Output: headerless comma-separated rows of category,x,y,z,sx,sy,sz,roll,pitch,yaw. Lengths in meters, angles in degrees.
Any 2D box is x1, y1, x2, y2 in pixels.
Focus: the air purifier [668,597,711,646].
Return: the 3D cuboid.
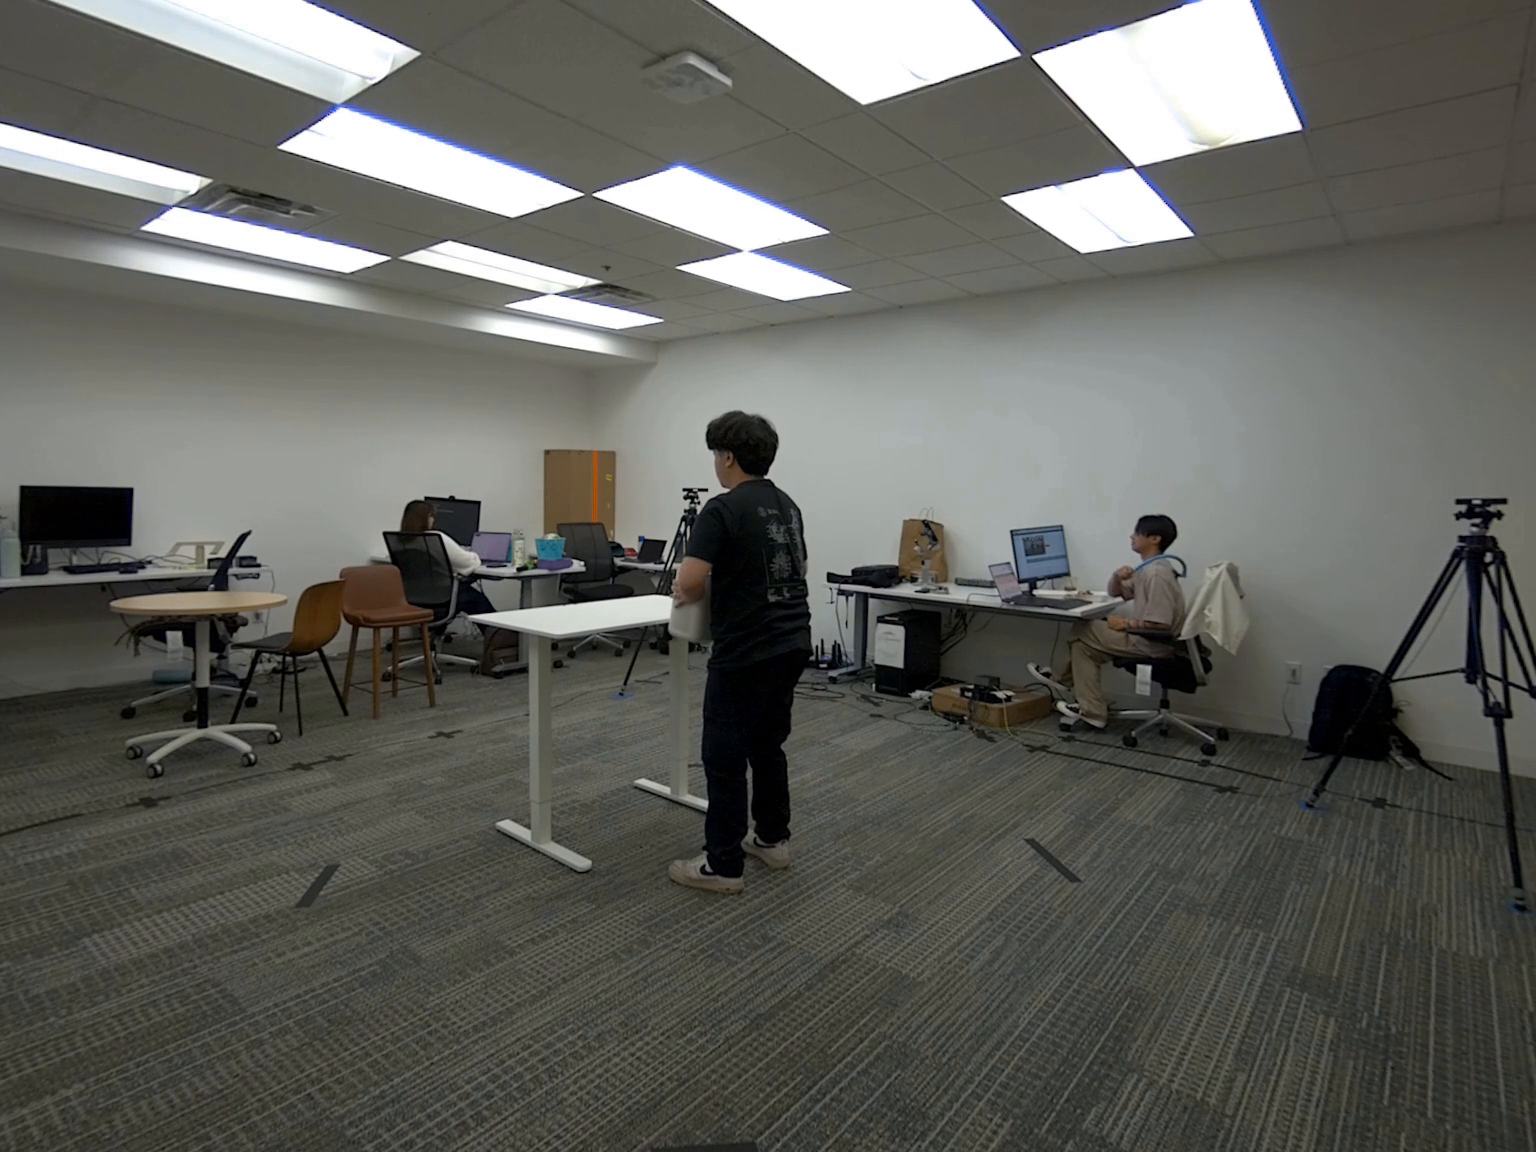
air purifier,-0.265,0.110,3.208,0.178,0.264,0.166,12,7,37
